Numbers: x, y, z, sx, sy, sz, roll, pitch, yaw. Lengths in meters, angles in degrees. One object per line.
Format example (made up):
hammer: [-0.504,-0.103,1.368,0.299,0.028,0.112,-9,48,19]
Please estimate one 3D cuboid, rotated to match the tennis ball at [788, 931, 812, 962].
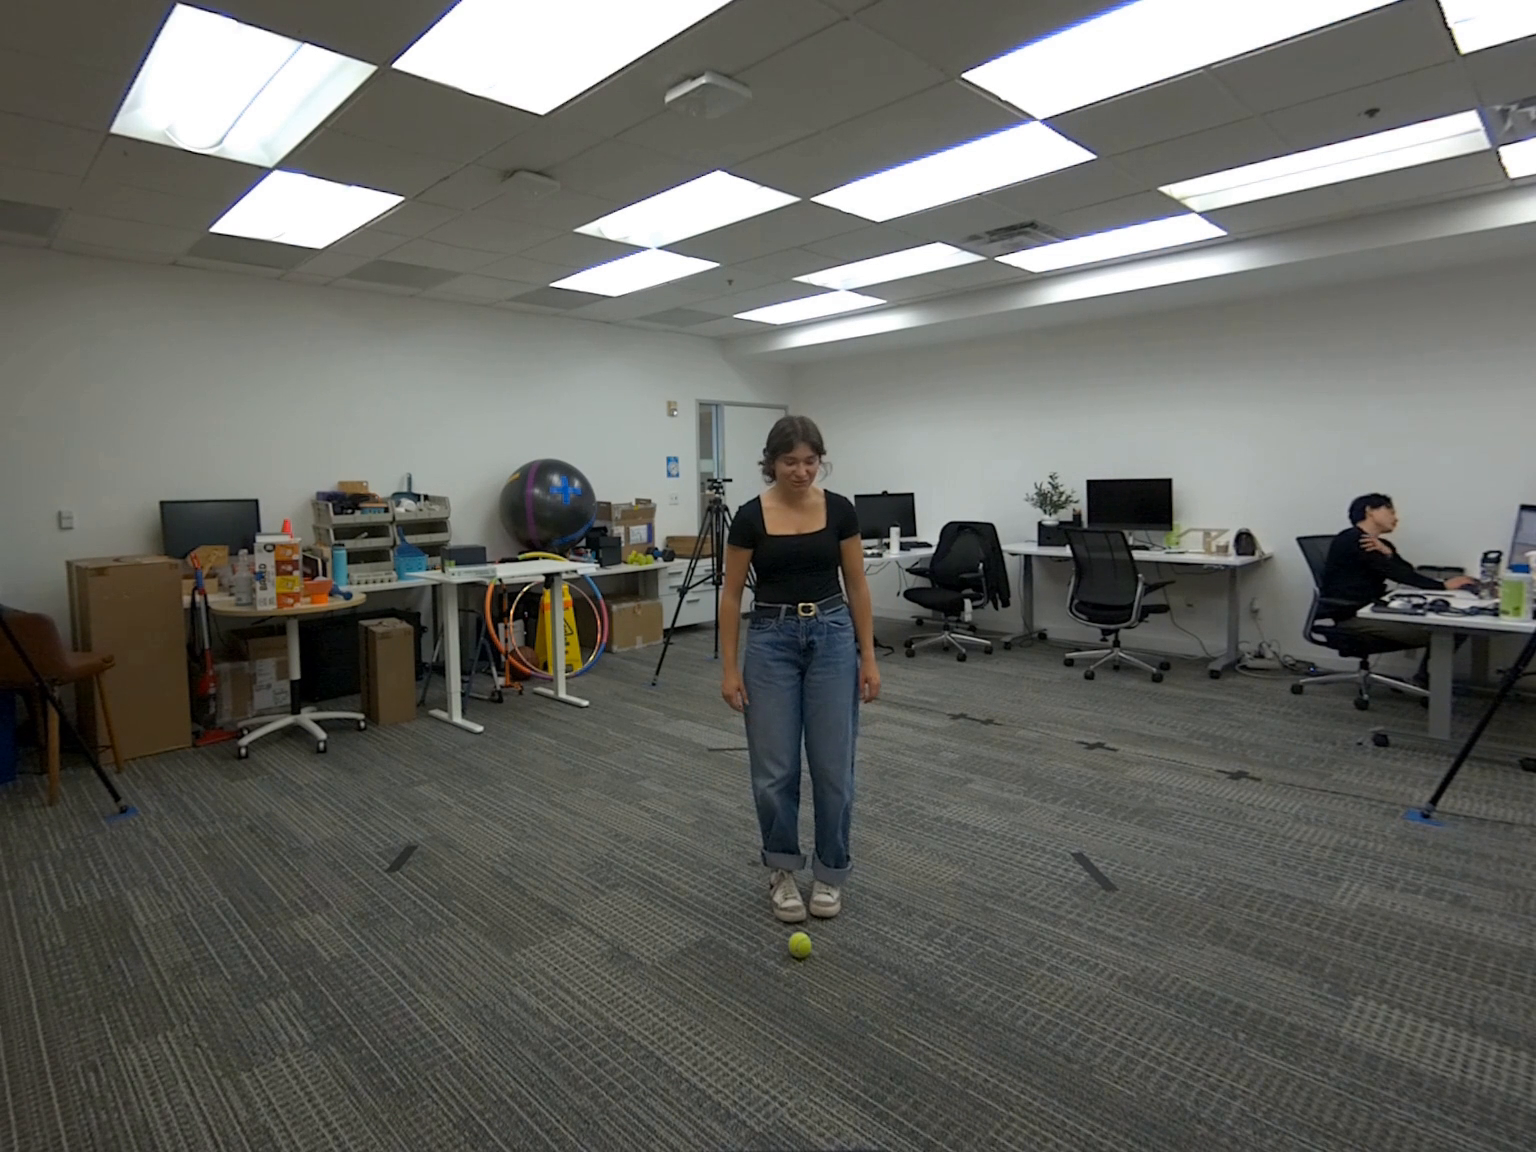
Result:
tennis ball: [0.095,1.078,2.499,0.066,0.066,0.067,-1,5,-2]
